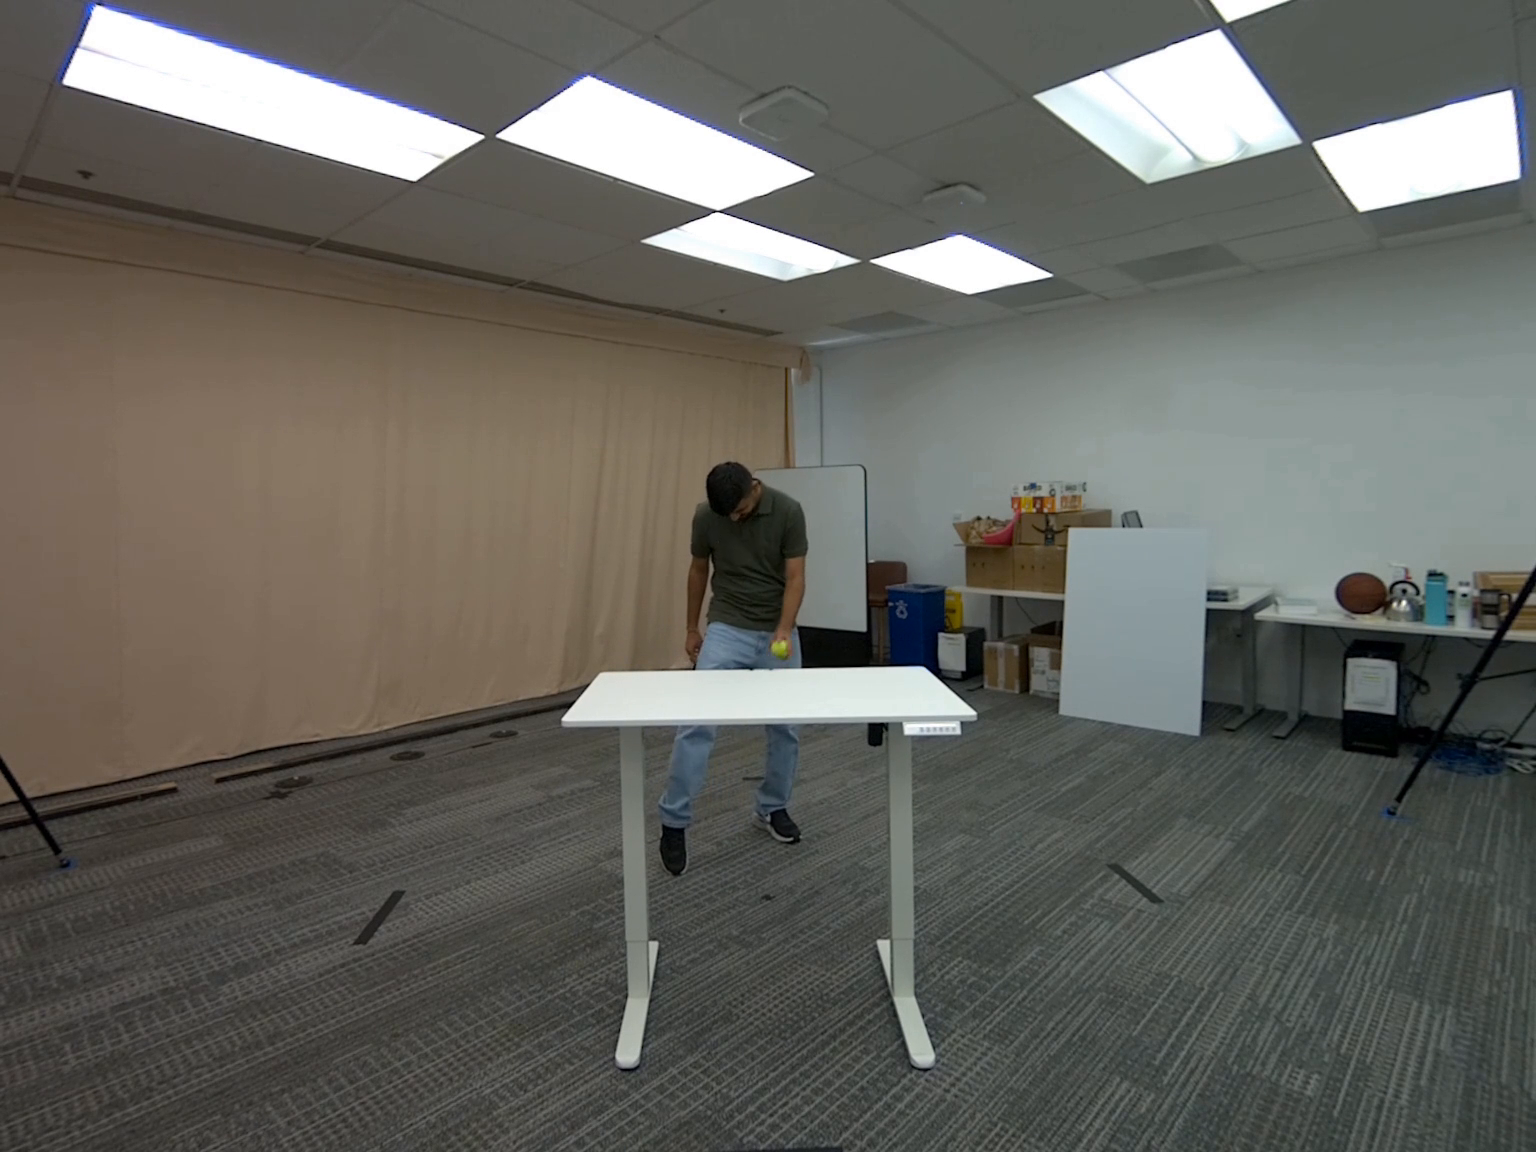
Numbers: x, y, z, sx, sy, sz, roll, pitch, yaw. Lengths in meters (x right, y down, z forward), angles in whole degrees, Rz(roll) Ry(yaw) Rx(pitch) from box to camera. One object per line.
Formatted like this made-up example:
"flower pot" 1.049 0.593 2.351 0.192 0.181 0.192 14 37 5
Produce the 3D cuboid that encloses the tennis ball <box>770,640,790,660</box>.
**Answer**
"tennis ball" 0.042 0.308 3.125 0.066 0.066 0.067 -1 4 -2
